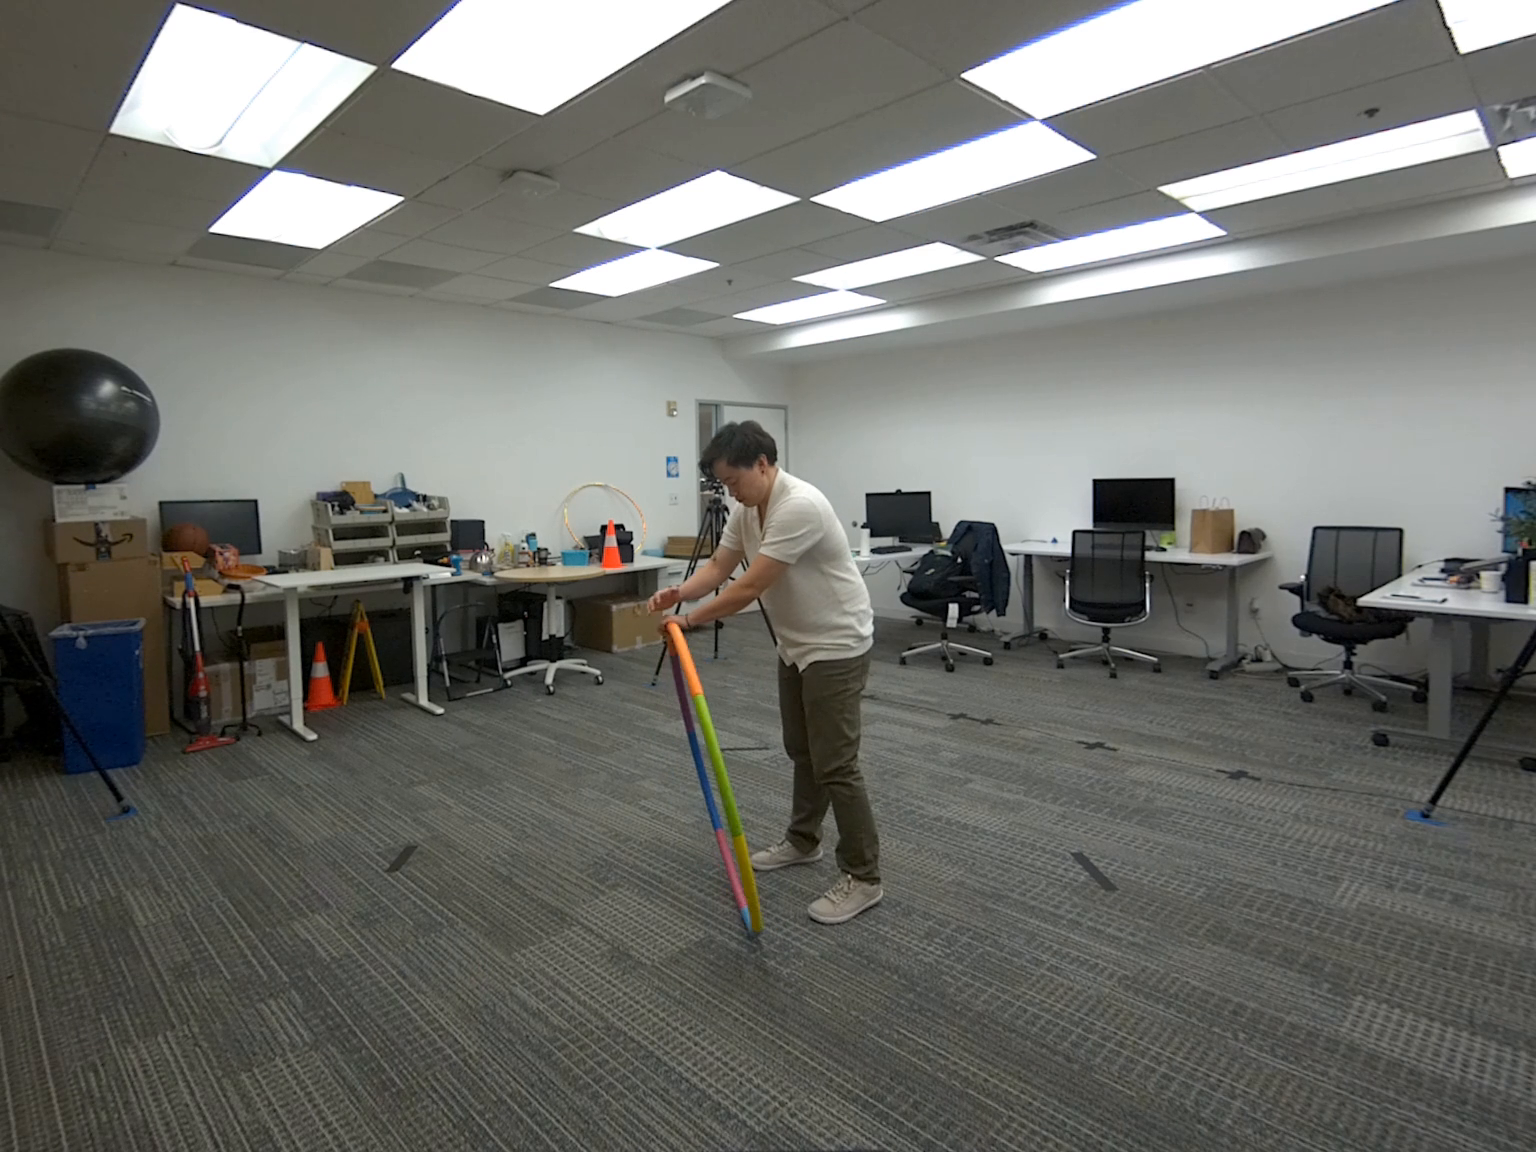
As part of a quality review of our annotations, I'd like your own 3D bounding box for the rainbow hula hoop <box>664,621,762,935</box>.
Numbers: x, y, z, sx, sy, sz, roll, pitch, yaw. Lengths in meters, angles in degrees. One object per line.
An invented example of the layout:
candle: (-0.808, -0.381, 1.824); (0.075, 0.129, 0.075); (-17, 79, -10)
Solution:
rainbow hula hoop: (-0.177, 0.615, 2.687); (0.035, 0.972, 0.992); (-16, 7, -10)
